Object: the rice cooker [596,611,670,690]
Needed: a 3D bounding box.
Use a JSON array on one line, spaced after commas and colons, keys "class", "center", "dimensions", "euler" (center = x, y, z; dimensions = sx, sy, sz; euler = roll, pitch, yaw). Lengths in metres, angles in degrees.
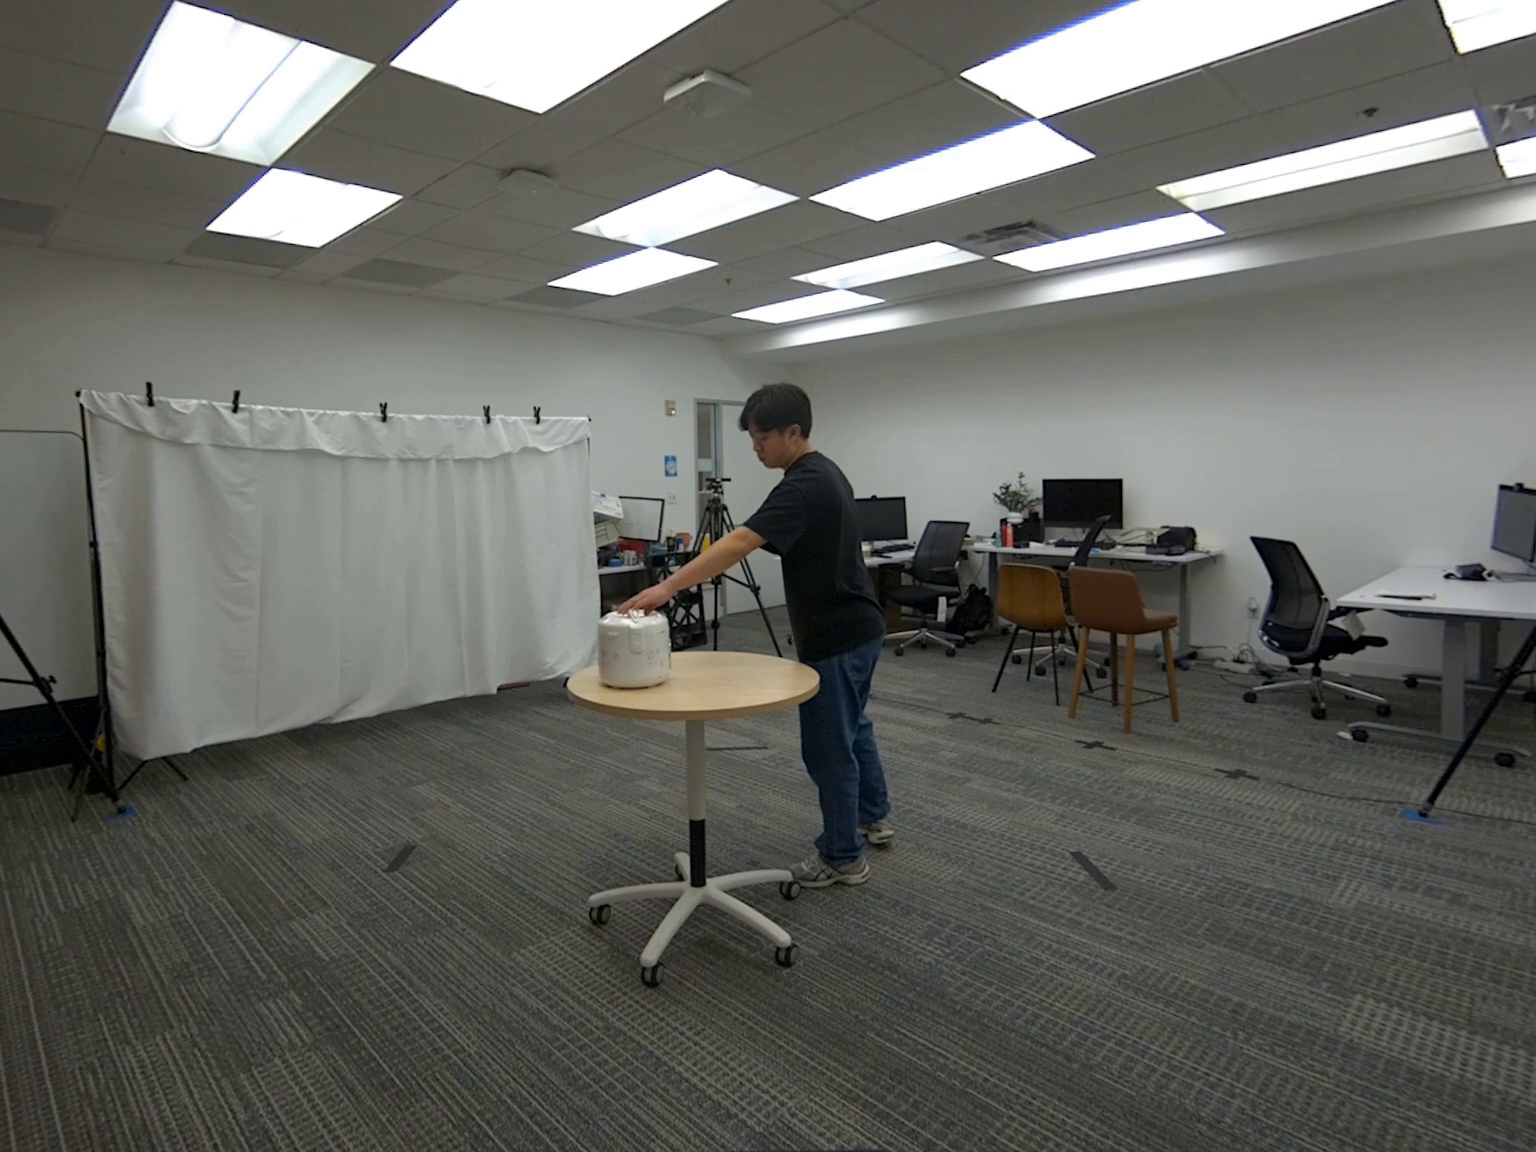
[{"class": "rice cooker", "center": [-0.397, 0.204, 2.544], "dimensions": [0.215, 0.232, 0.224], "euler": [-1, 5, -13]}]
